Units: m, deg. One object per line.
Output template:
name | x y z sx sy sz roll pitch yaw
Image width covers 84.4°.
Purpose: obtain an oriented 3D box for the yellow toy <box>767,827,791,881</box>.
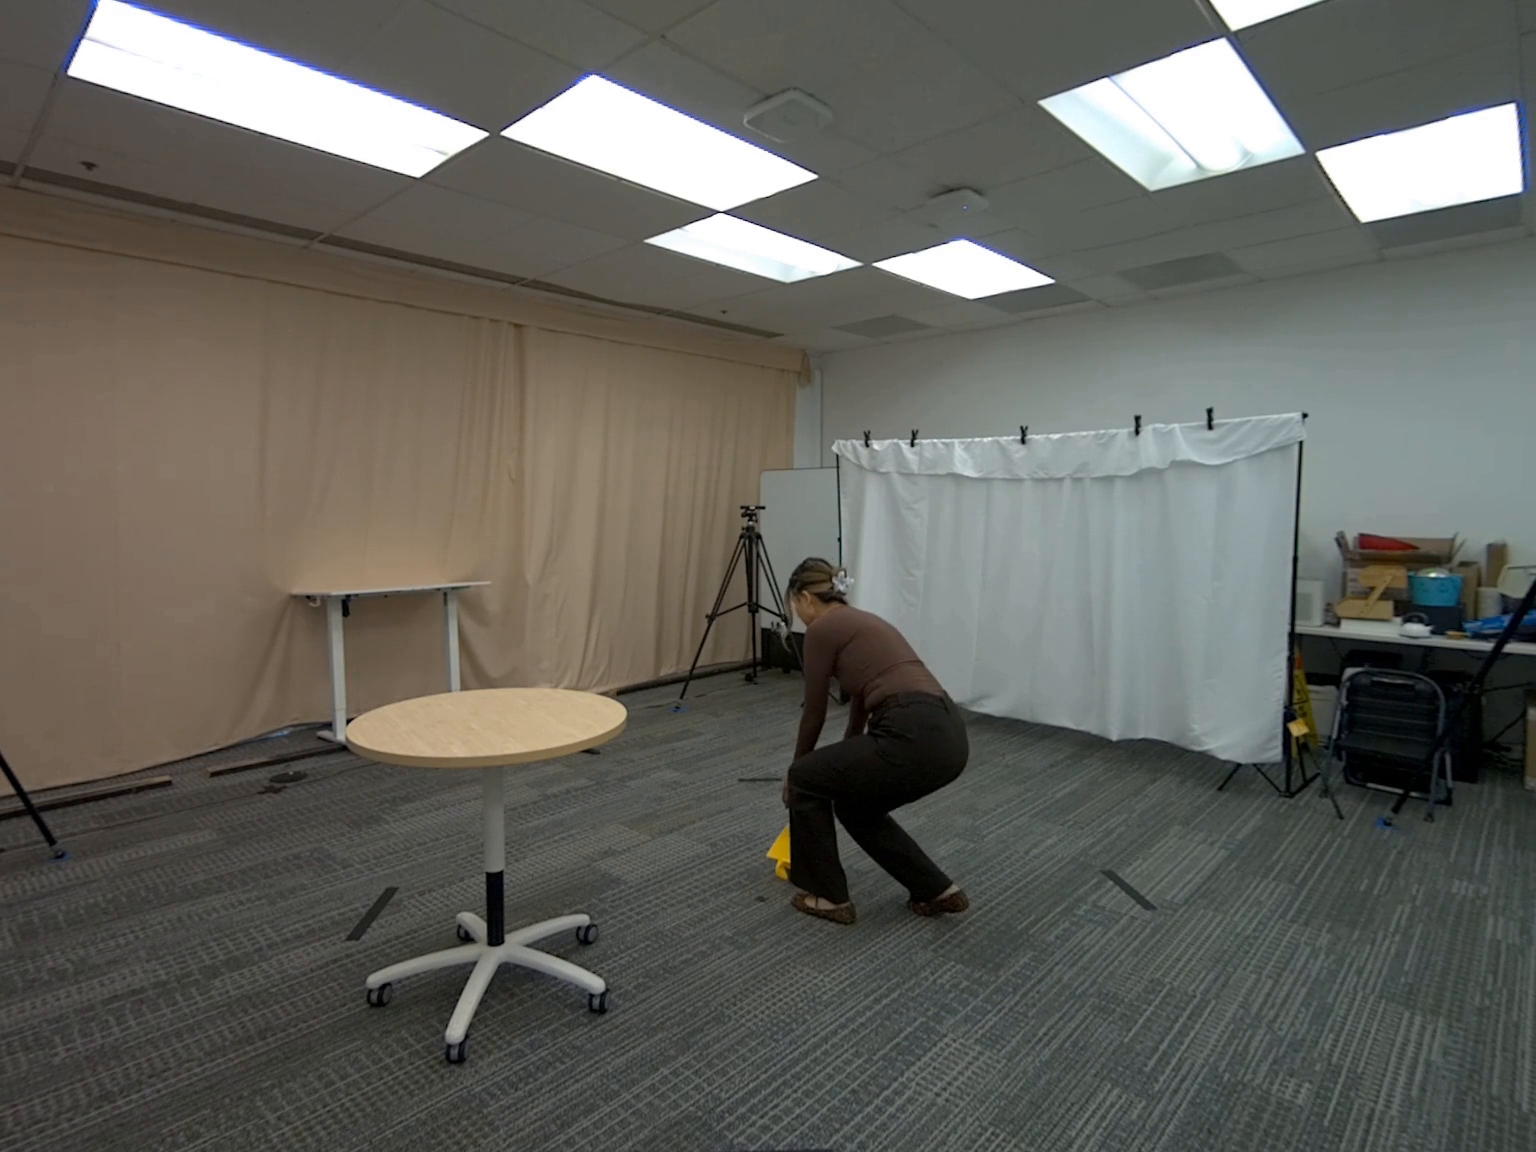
yellow toy | 0.130 1.016 3.169 0.211 0.230 0.188 2 5 32
